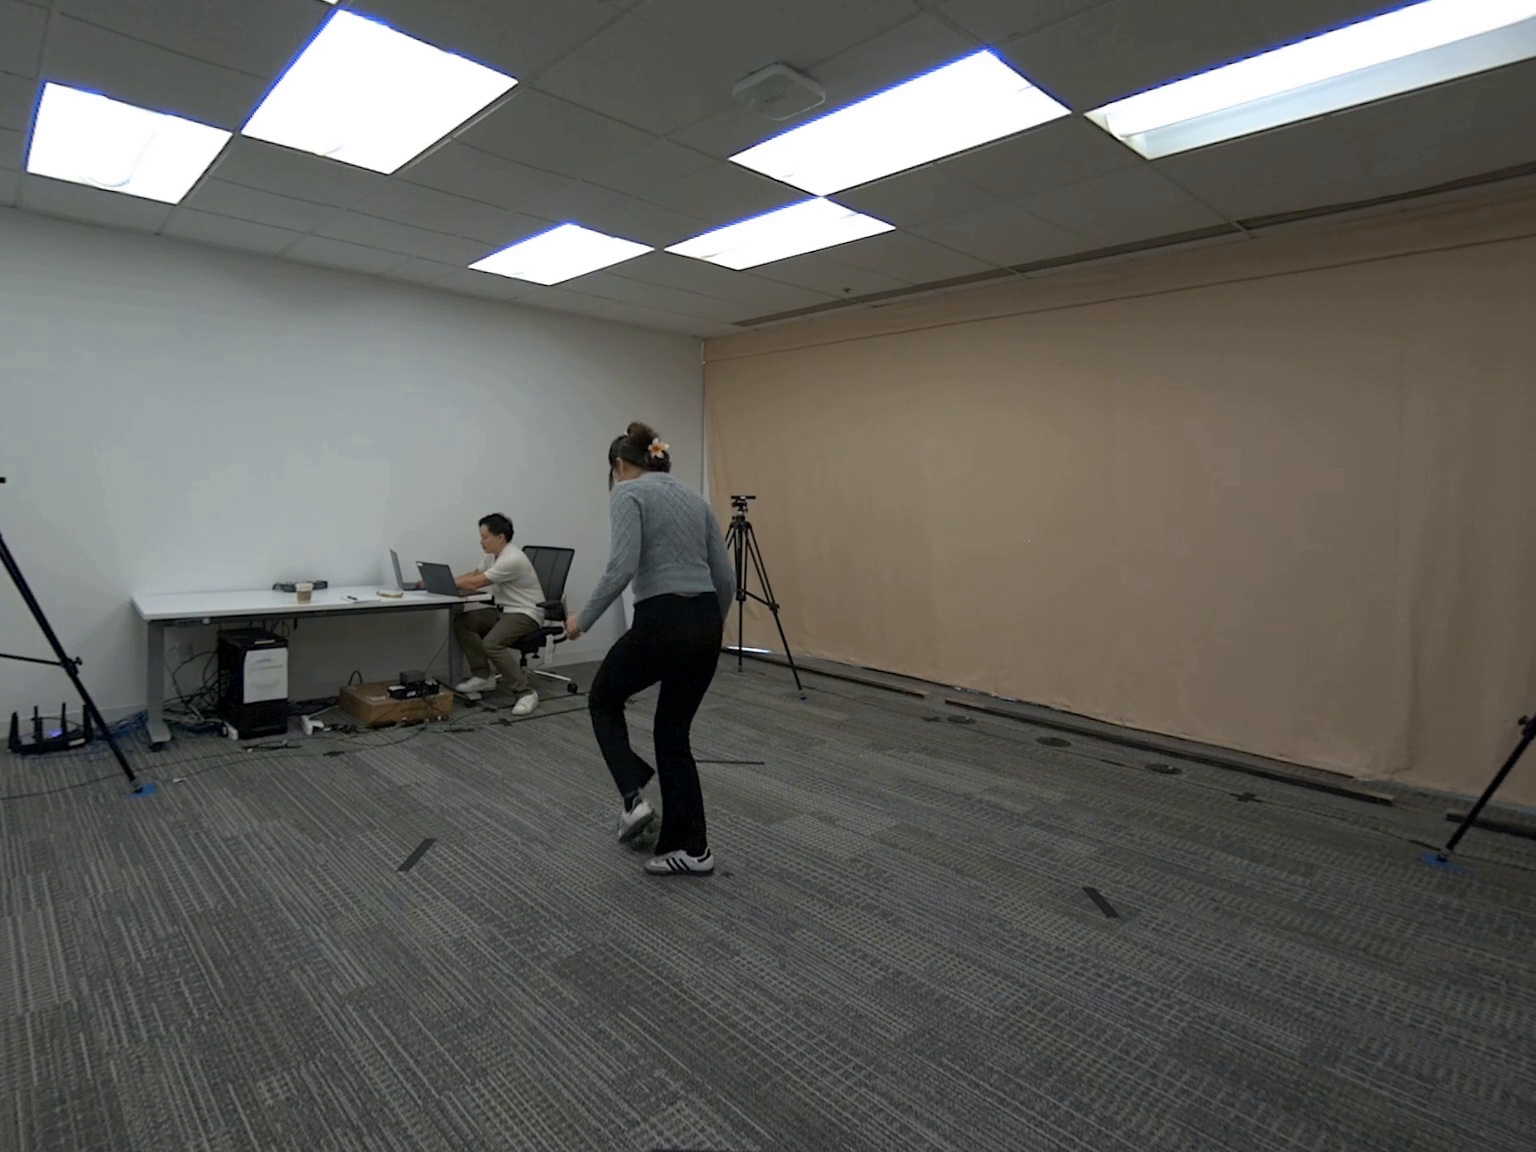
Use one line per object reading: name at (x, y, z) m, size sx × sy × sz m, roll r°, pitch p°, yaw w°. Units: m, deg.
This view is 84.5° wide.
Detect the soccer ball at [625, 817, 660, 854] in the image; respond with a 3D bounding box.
soccer ball at (-0.509, 0.981, 3.330) m, size 0.187 × 0.187 × 0.188 m, roll 1°, pitch 4°, yaw -1°
